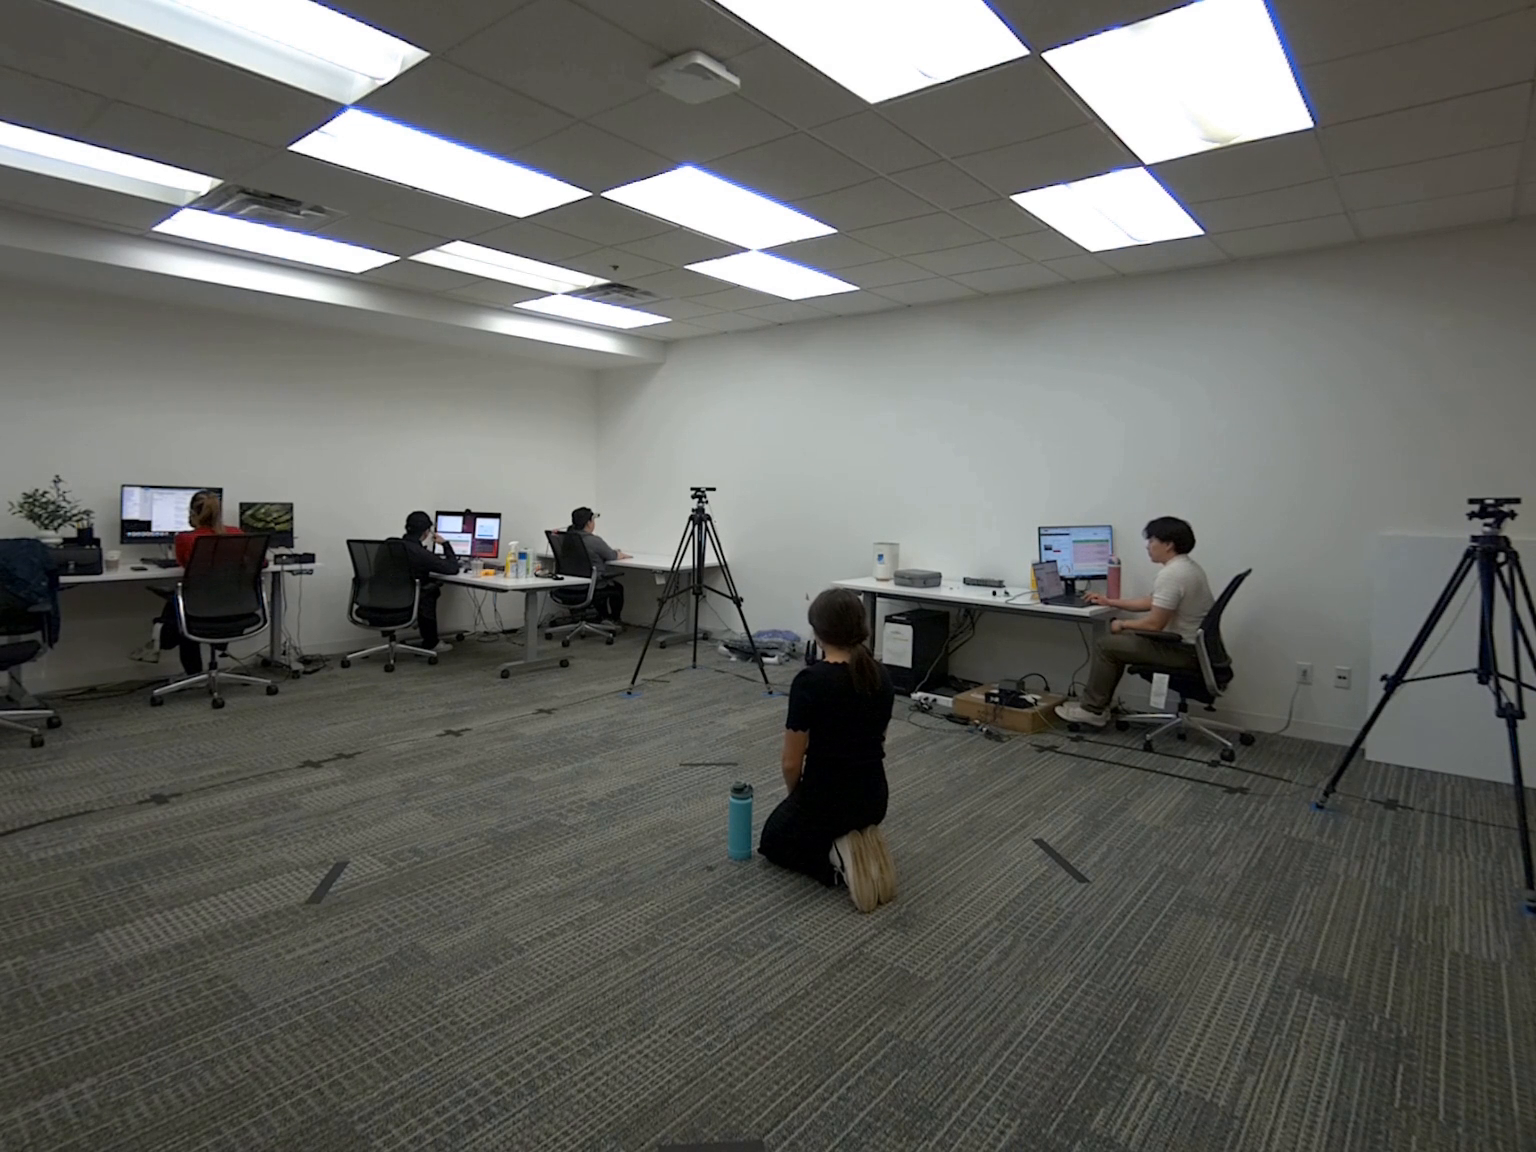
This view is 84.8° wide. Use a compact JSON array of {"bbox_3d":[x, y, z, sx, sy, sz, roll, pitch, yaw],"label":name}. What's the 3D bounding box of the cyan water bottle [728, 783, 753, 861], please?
[{"bbox_3d":[-0.110,0.918,3.222,0.092,0.283,0.092,2,2,-2],"label":"cyan water bottle"}]
